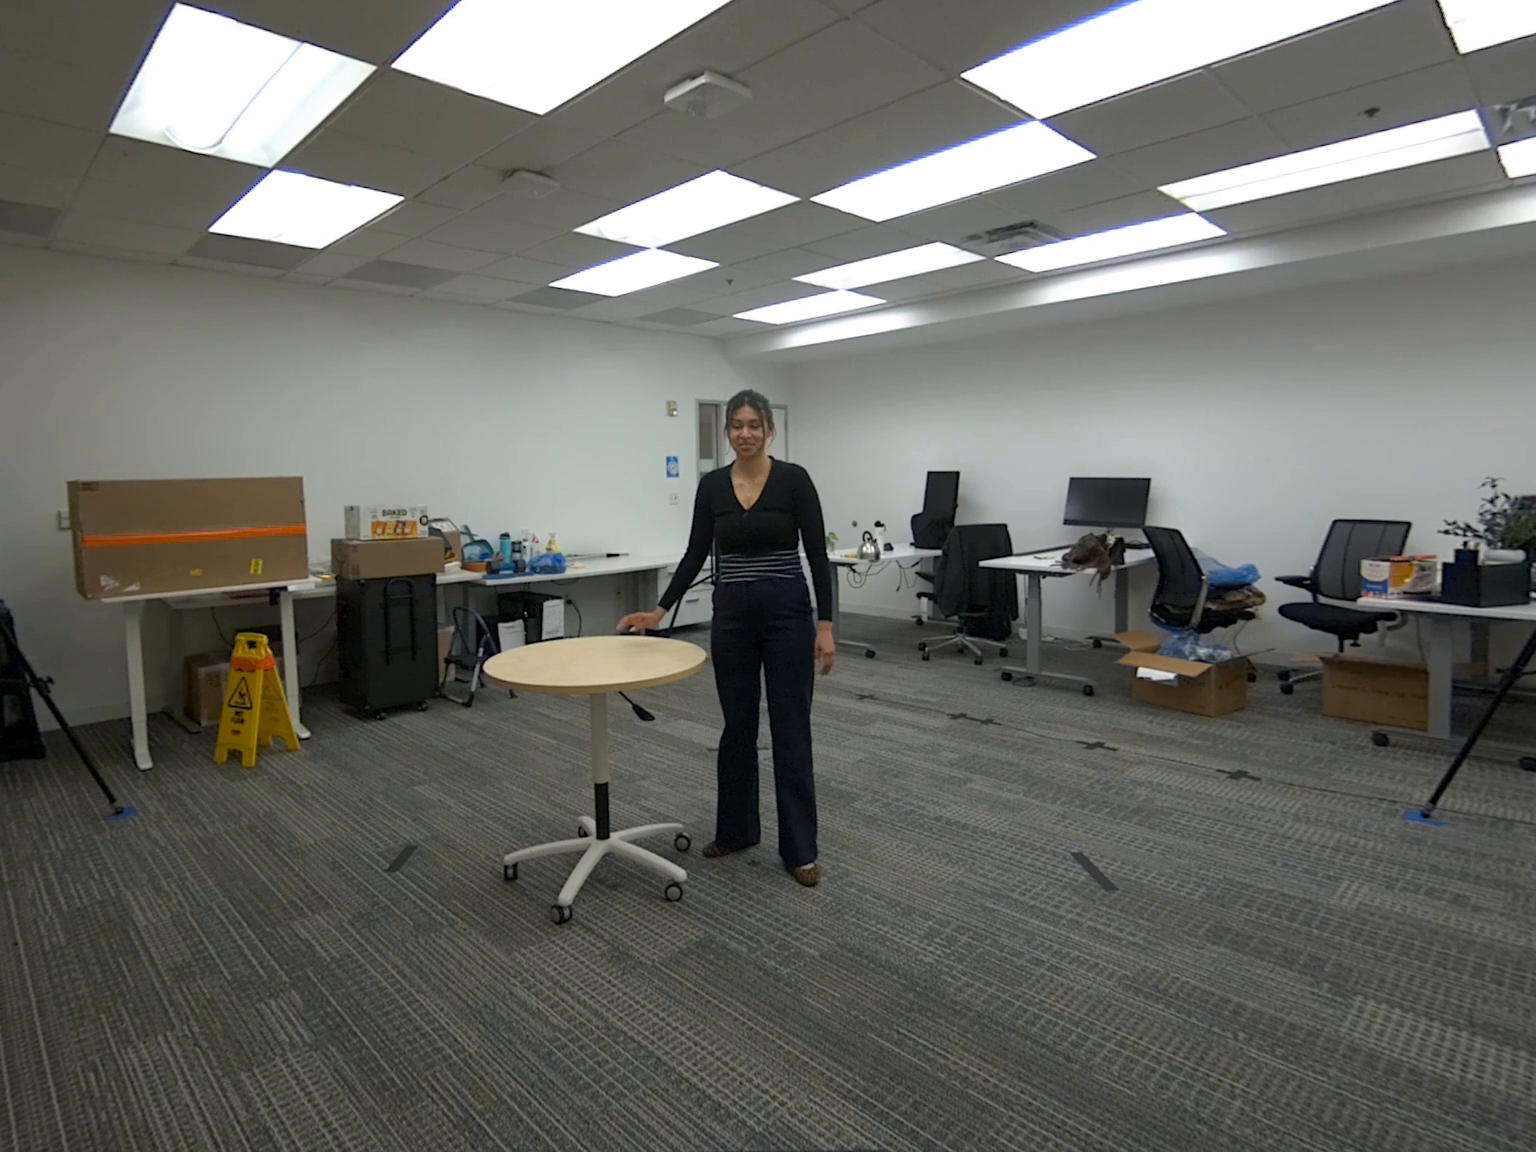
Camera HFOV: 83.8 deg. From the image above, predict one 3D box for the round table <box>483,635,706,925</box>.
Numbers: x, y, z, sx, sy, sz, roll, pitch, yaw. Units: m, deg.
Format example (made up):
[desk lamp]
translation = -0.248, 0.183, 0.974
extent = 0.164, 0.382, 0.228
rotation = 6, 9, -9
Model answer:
[round table]
translation = -0.586, 0.676, 3.003
extent = 0.763, 0.790, 0.768
rotation = -2, 6, -2
